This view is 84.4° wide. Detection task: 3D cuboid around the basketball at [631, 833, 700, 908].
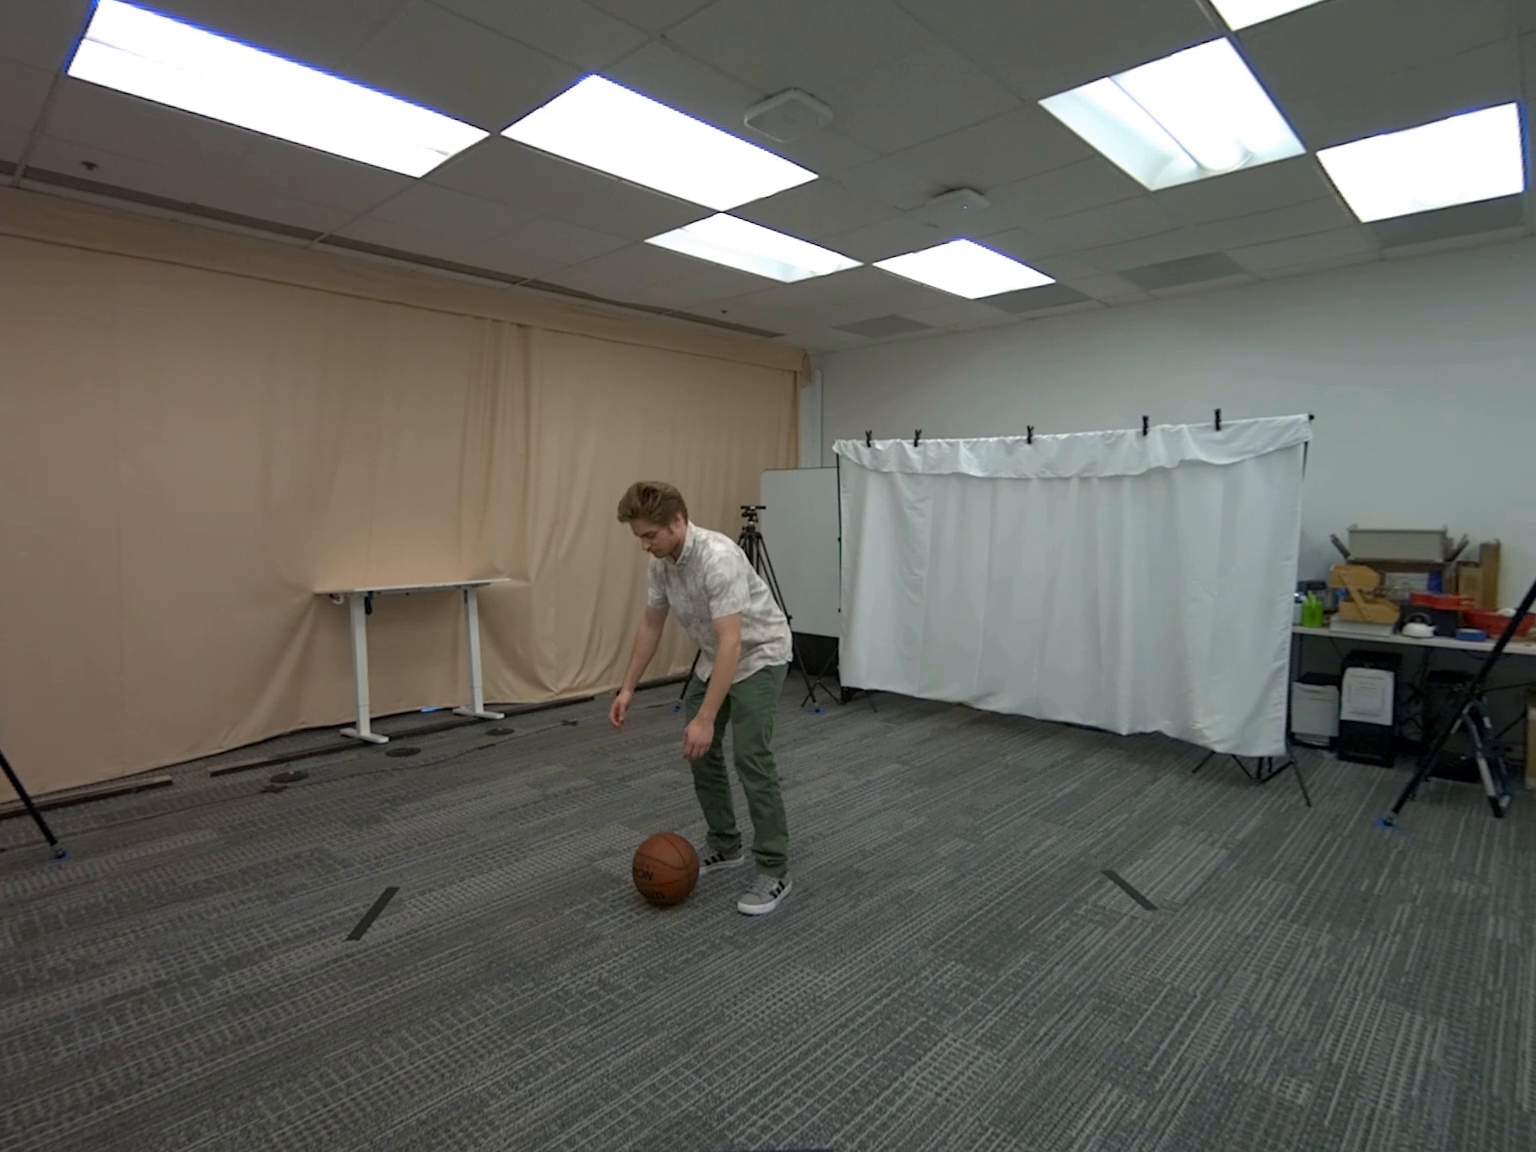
[{"bbox_3d":[-0.350,1.021,2.966,0.236,0.235,0.237,0,4,-2],"label":"basketball"}]
